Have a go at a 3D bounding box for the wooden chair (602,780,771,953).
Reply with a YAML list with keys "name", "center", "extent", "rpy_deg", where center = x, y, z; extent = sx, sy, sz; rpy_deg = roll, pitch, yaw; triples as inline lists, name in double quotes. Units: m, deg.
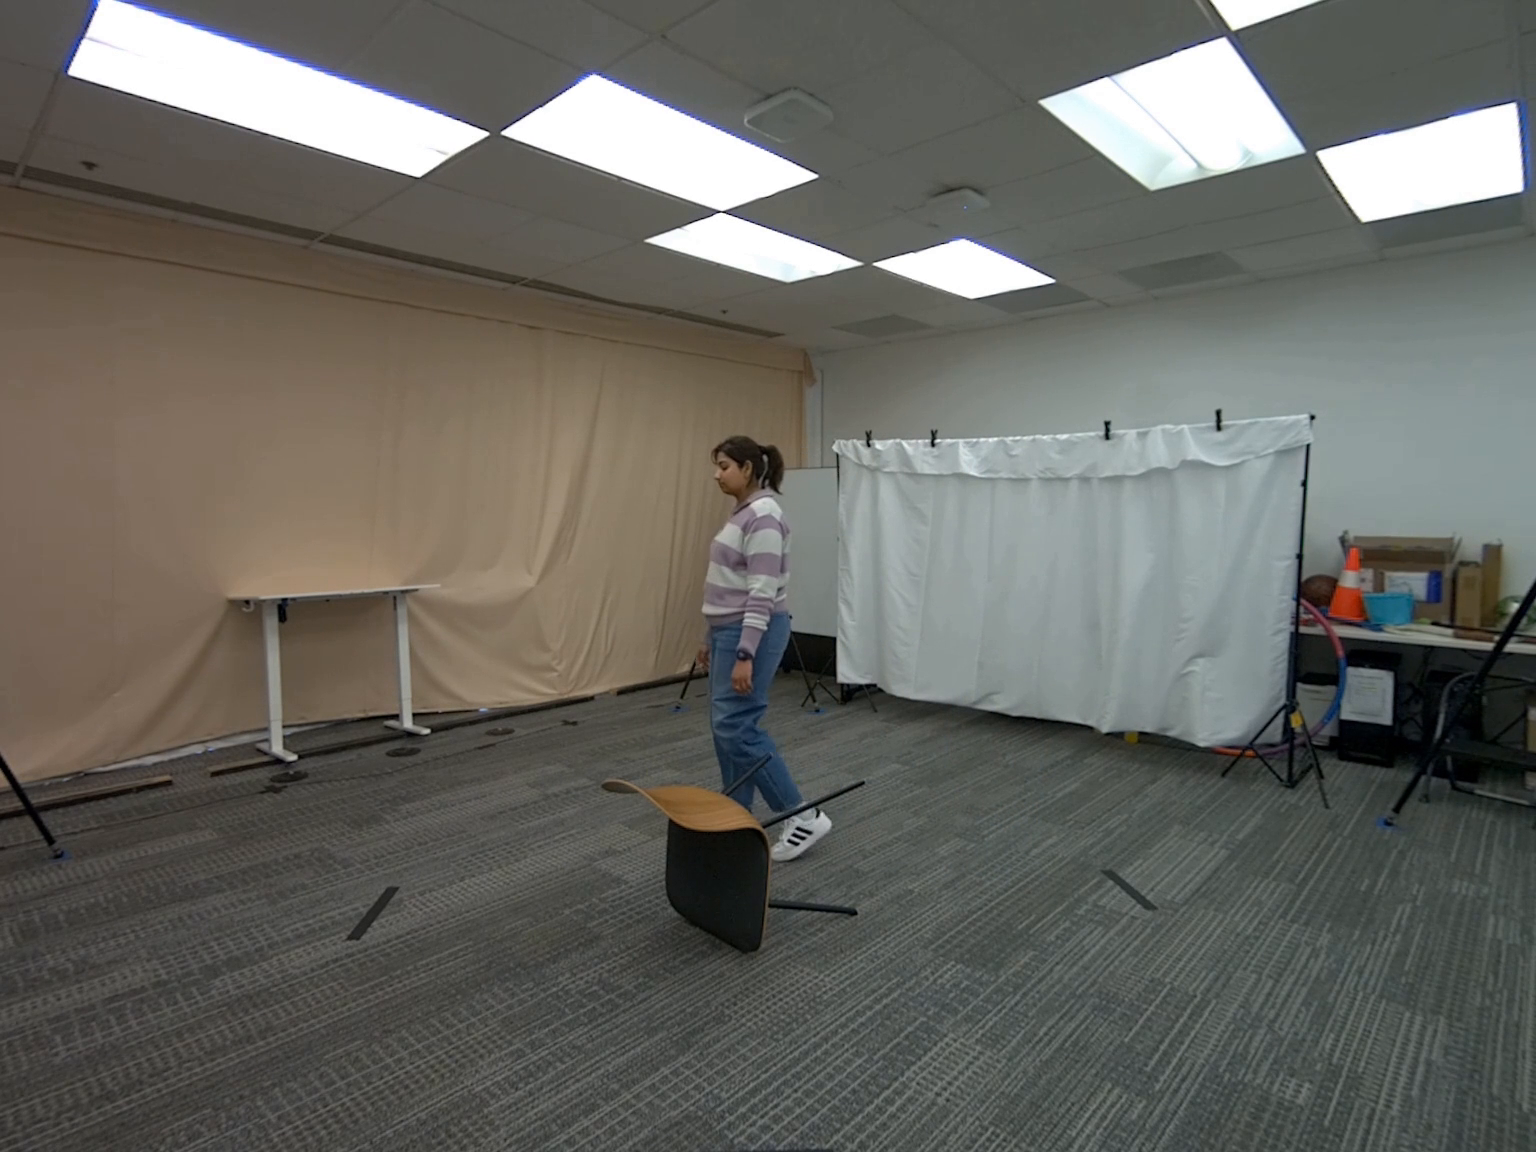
- name: "wooden chair"
  center: [-0.136, 0.907, 2.743]
  extent: [0.494, 0.524, 0.847]
  rpy_deg: [5, -3, 45]
